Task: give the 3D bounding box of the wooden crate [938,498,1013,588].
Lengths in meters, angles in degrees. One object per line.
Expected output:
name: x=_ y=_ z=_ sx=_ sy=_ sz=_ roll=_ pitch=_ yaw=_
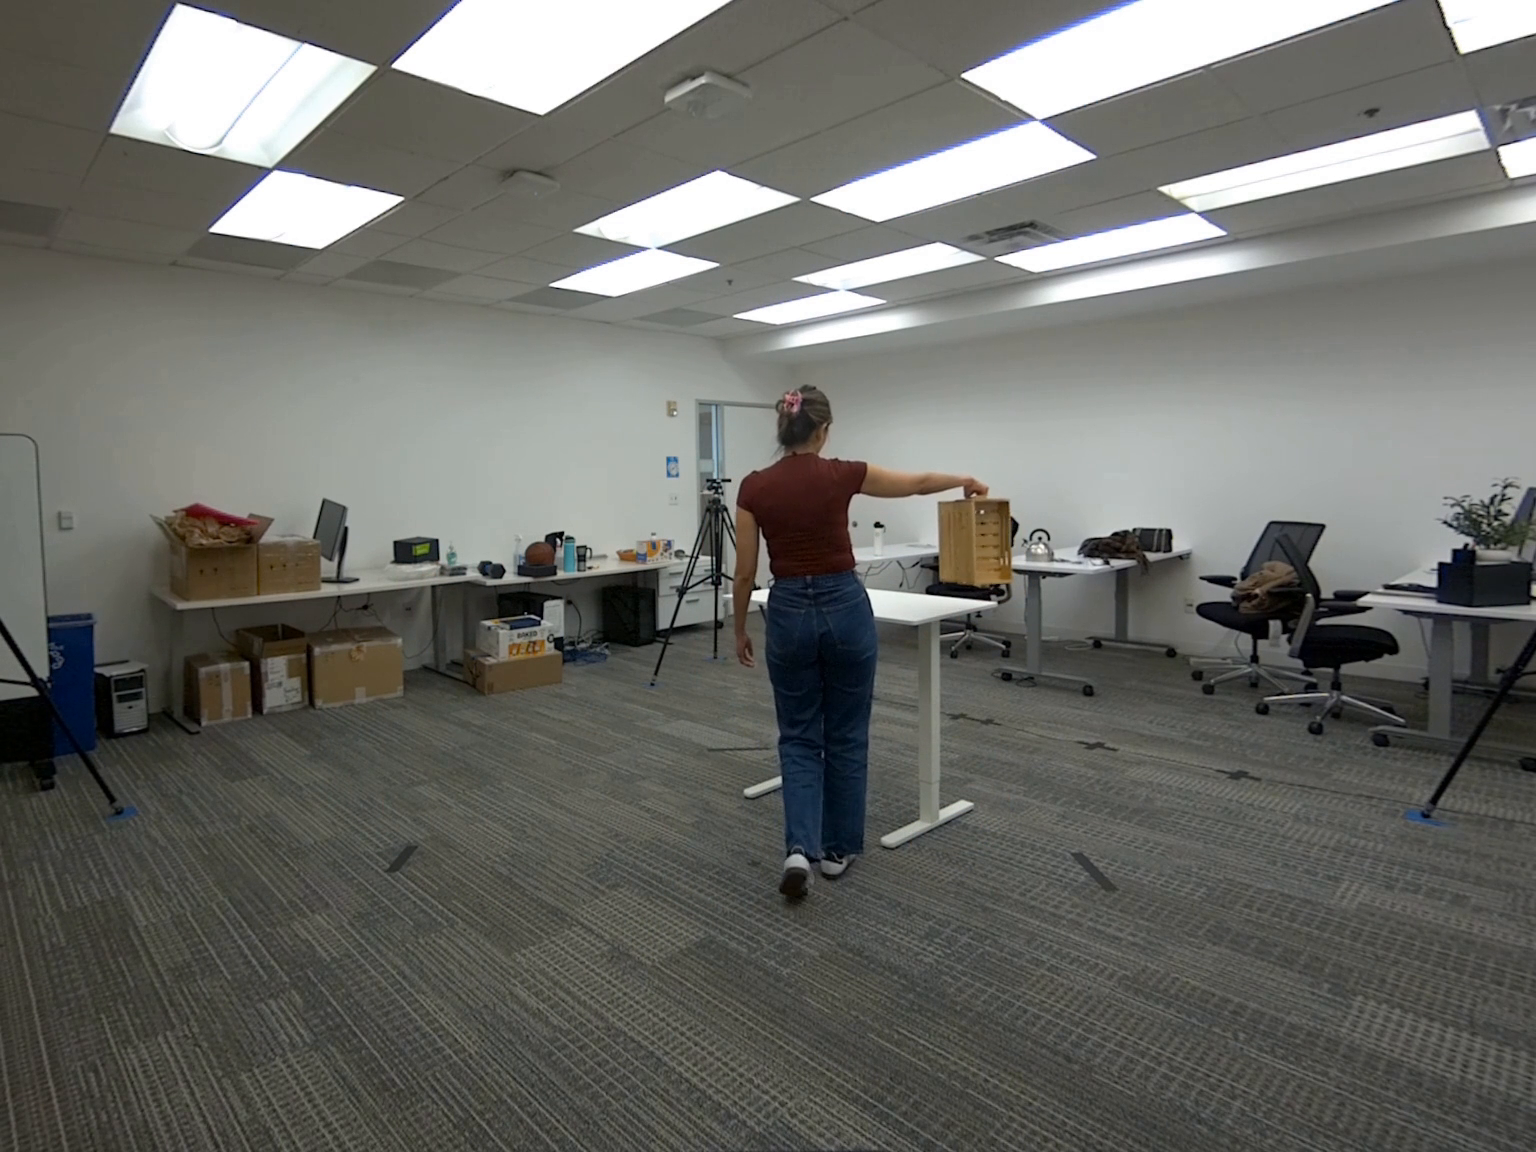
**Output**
wooden crate: x=0.807 y=-0.128 z=3.153 sx=0.296 sy=0.324 sz=0.279 roll=-3 pitch=2 yaw=-25
